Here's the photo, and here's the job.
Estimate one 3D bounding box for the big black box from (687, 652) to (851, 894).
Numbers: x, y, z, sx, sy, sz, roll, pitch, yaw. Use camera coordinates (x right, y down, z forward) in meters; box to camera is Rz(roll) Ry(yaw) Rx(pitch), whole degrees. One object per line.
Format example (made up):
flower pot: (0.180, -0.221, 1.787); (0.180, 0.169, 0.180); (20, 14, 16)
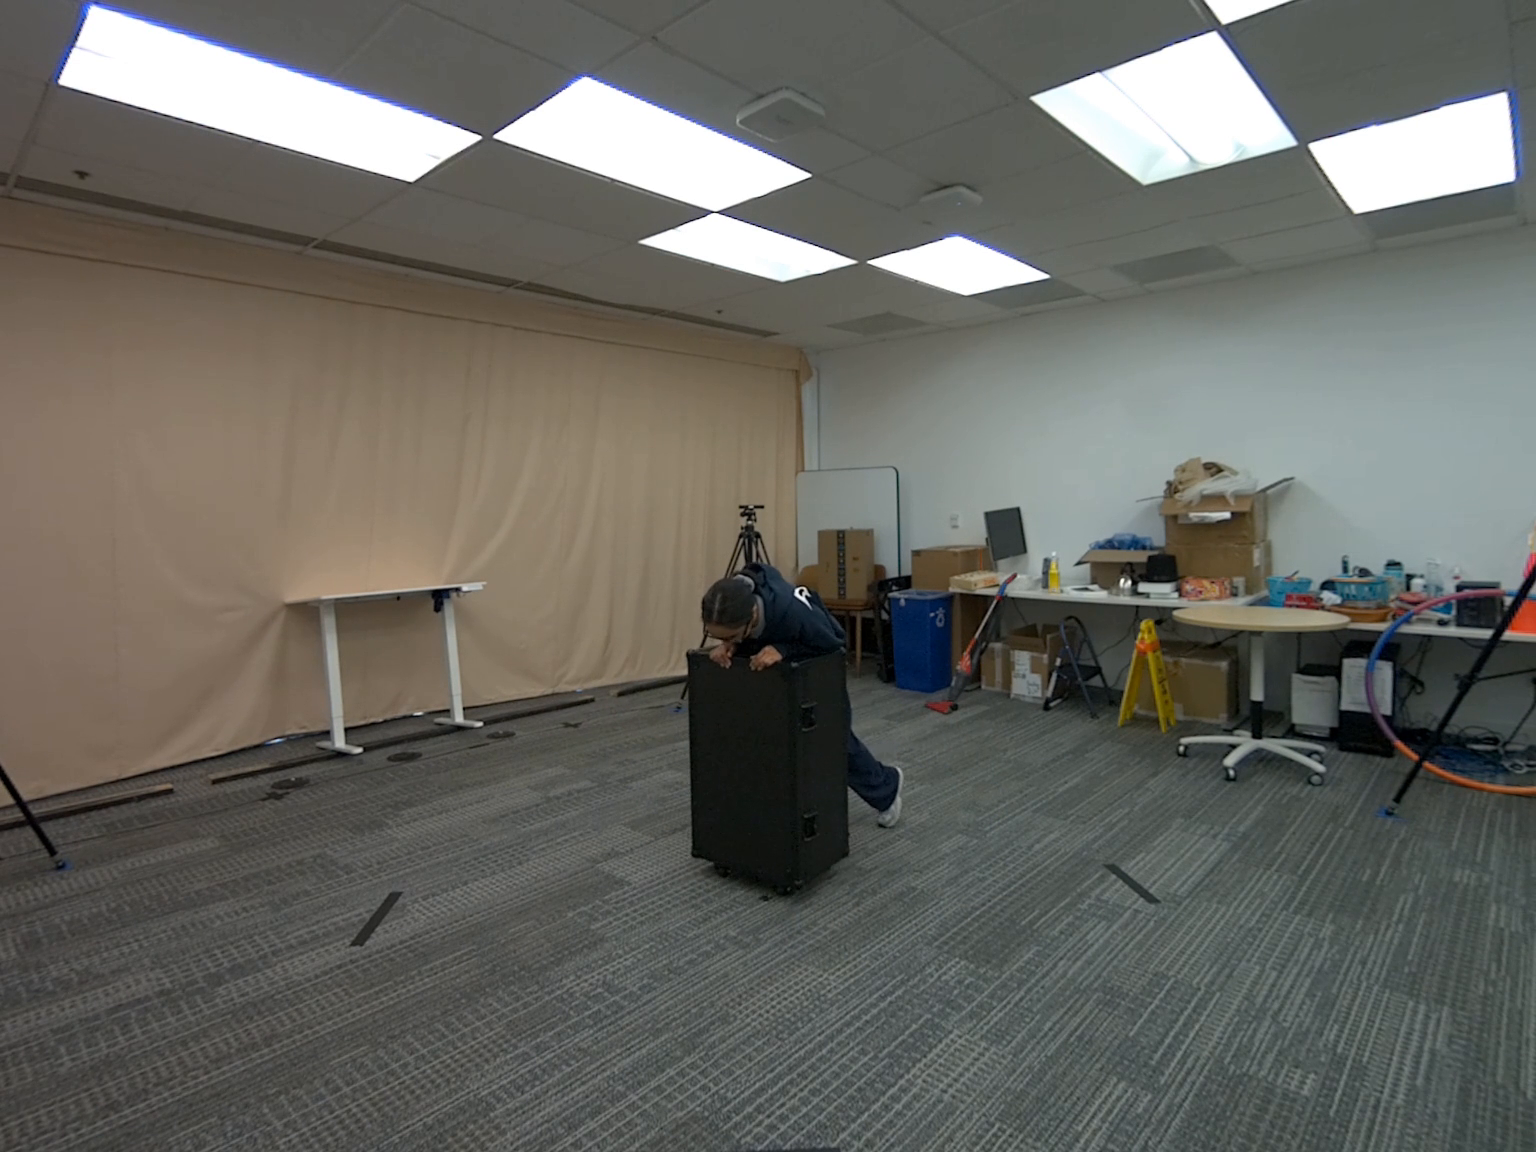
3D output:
big black box: (0.002, 0.705, 3.166); (0.538, 0.860, 0.385); (1, 4, 37)
